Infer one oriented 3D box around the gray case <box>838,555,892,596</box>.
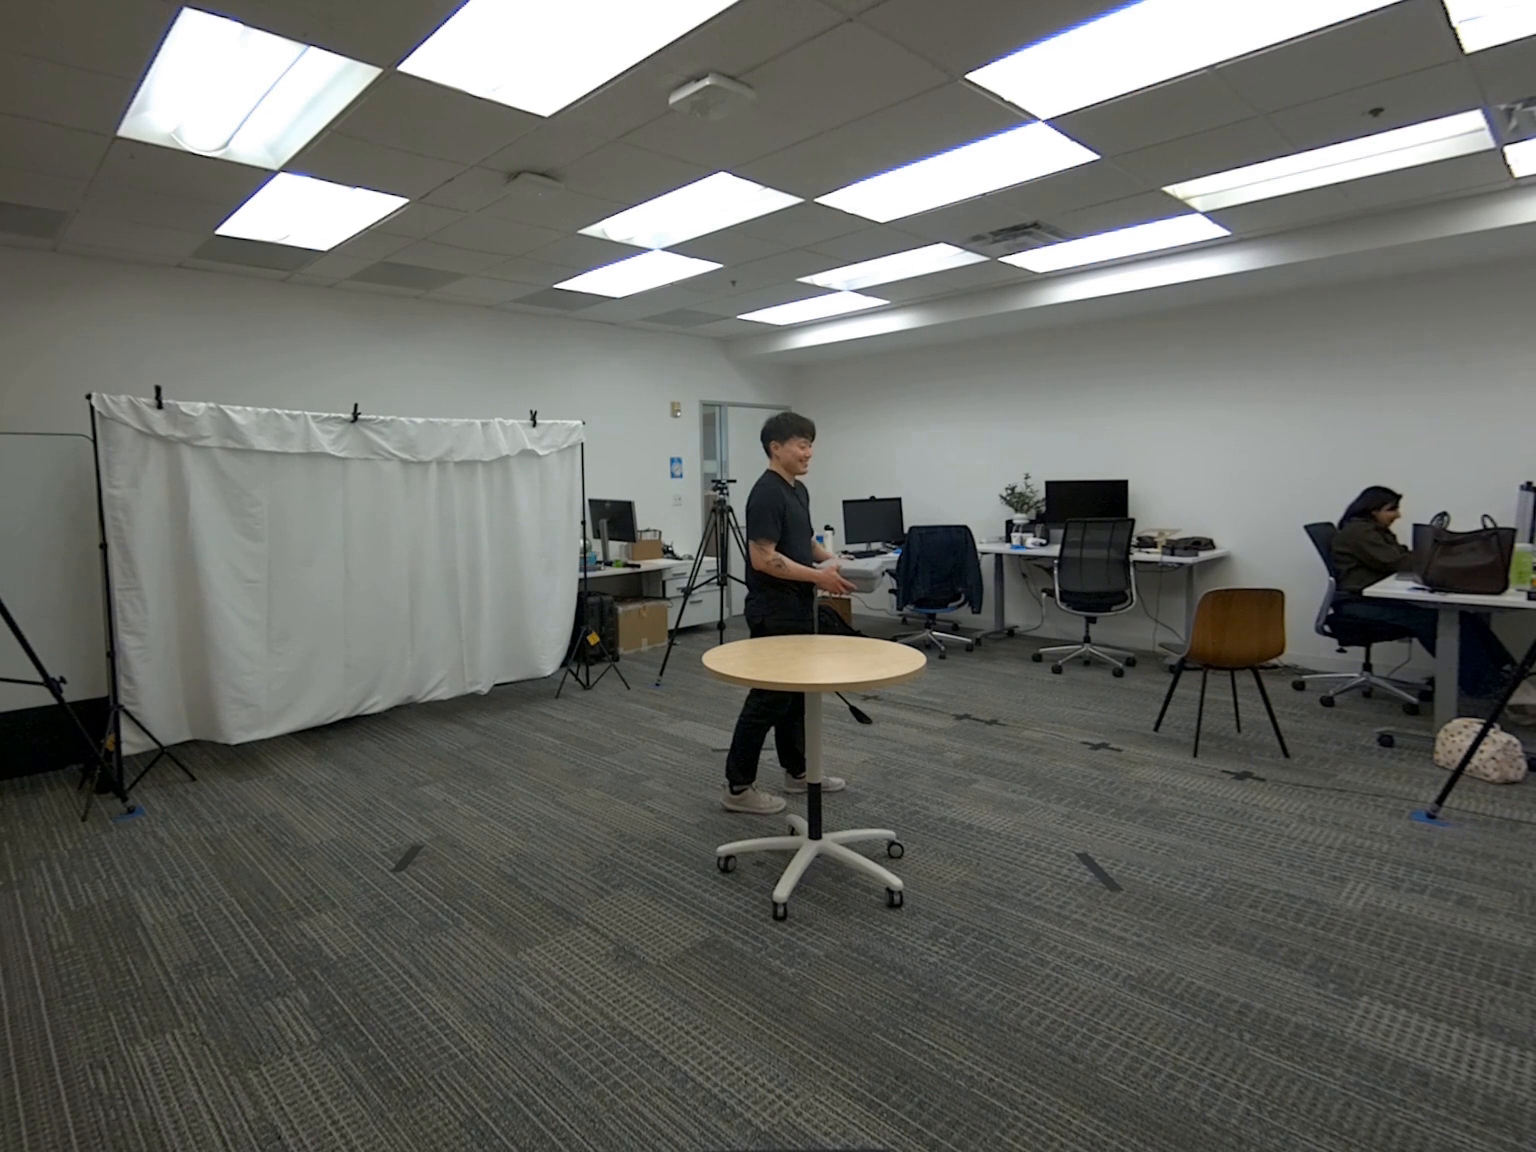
[{"bbox_3d":[0.335,-0.001,3.587,0.265,0.103,0.254,3,9,17],"label":"gray case"}]
